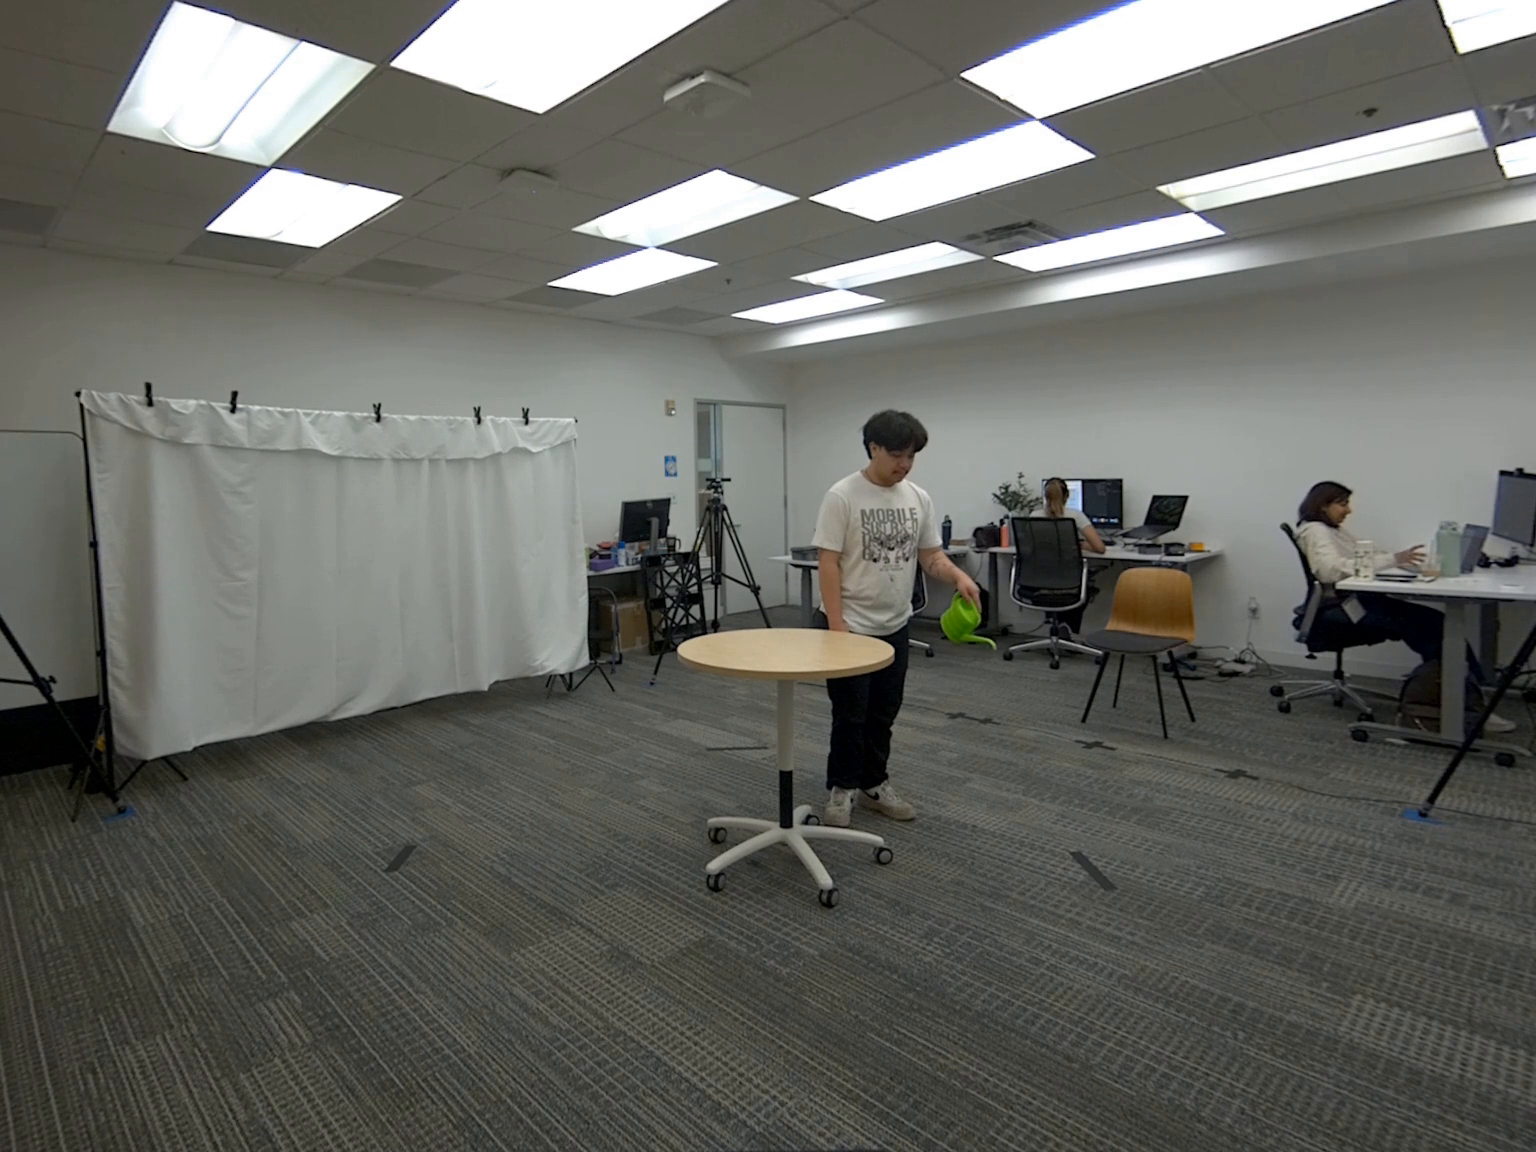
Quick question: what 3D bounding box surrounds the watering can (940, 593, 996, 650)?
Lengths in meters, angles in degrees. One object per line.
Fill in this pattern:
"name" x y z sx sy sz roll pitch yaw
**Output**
"watering can" 0.764 0.194 3.283 0.096 0.286 0.175 9 -40 -17
